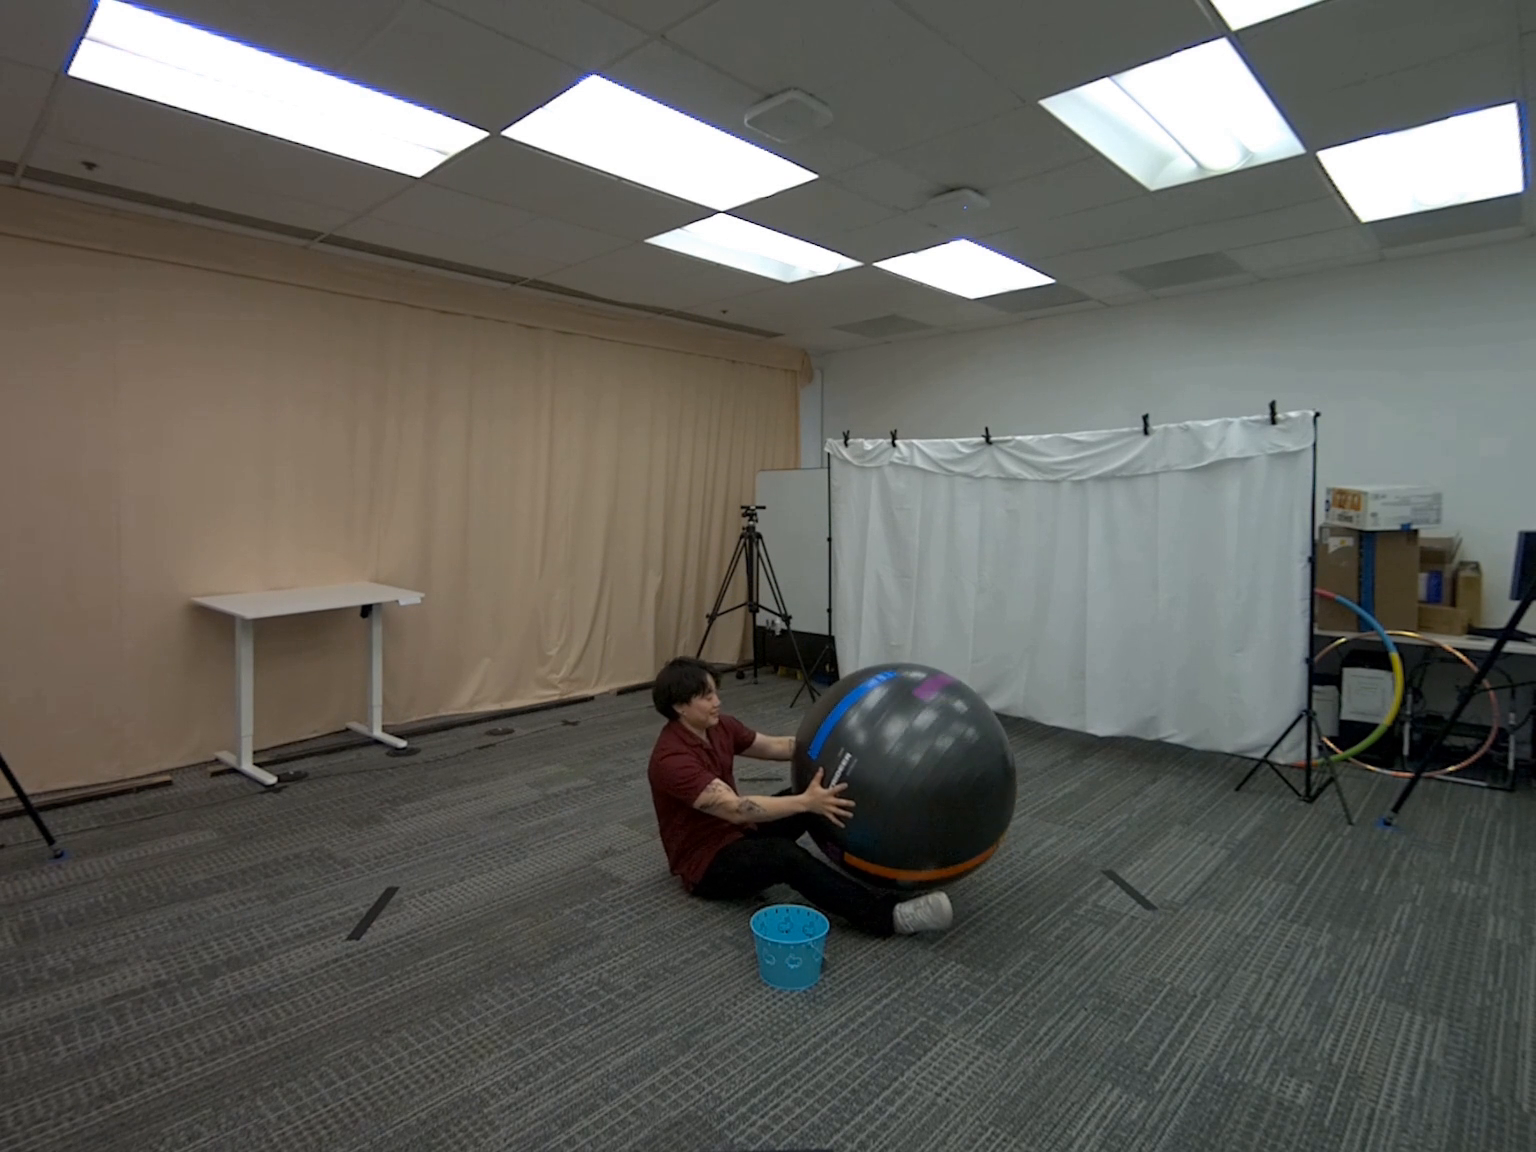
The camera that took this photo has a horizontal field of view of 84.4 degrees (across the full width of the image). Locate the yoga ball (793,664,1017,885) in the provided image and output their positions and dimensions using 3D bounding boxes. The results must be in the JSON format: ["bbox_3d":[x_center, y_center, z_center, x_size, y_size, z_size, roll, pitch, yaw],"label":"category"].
[{"bbox_3d":[0.457,0.679,2.926,0.757,0.756,0.760,0,4,-2],"label":"yoga ball"}]
